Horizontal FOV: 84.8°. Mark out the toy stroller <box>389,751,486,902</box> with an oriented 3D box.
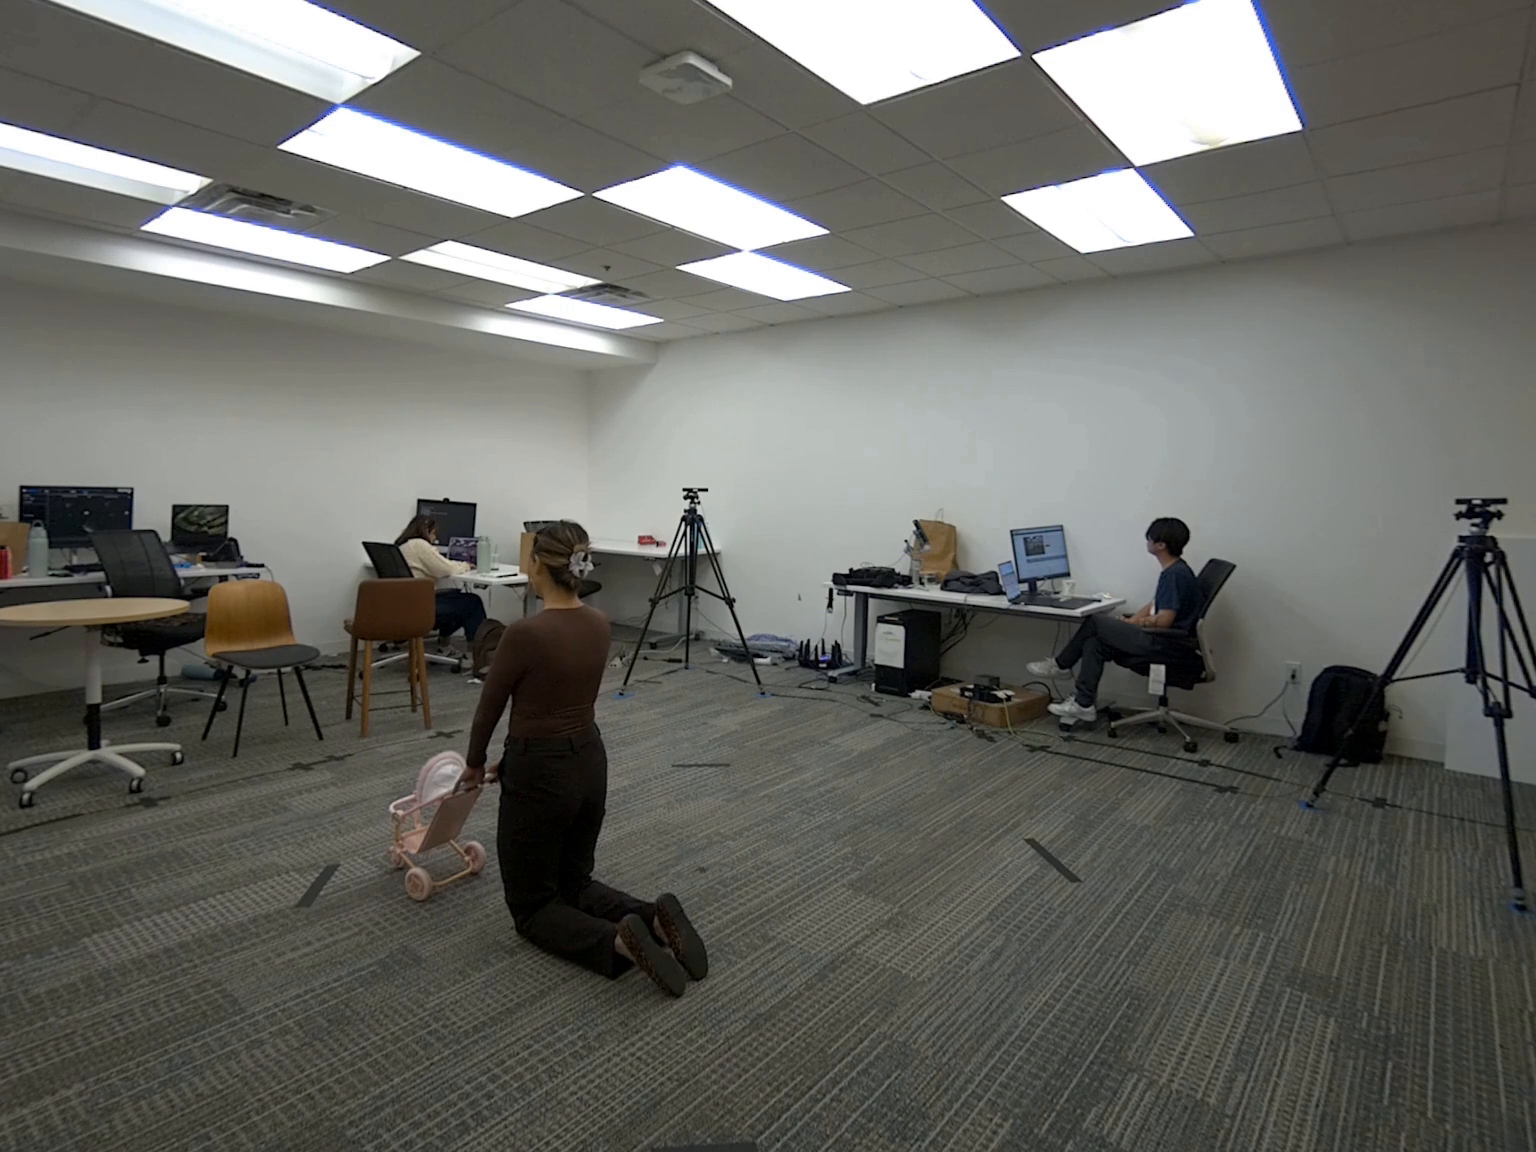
[{"bbox_3d":[-1.171,0.846,2.970,0.354,0.531,0.273,25,15,31],"label":"toy stroller"}]
